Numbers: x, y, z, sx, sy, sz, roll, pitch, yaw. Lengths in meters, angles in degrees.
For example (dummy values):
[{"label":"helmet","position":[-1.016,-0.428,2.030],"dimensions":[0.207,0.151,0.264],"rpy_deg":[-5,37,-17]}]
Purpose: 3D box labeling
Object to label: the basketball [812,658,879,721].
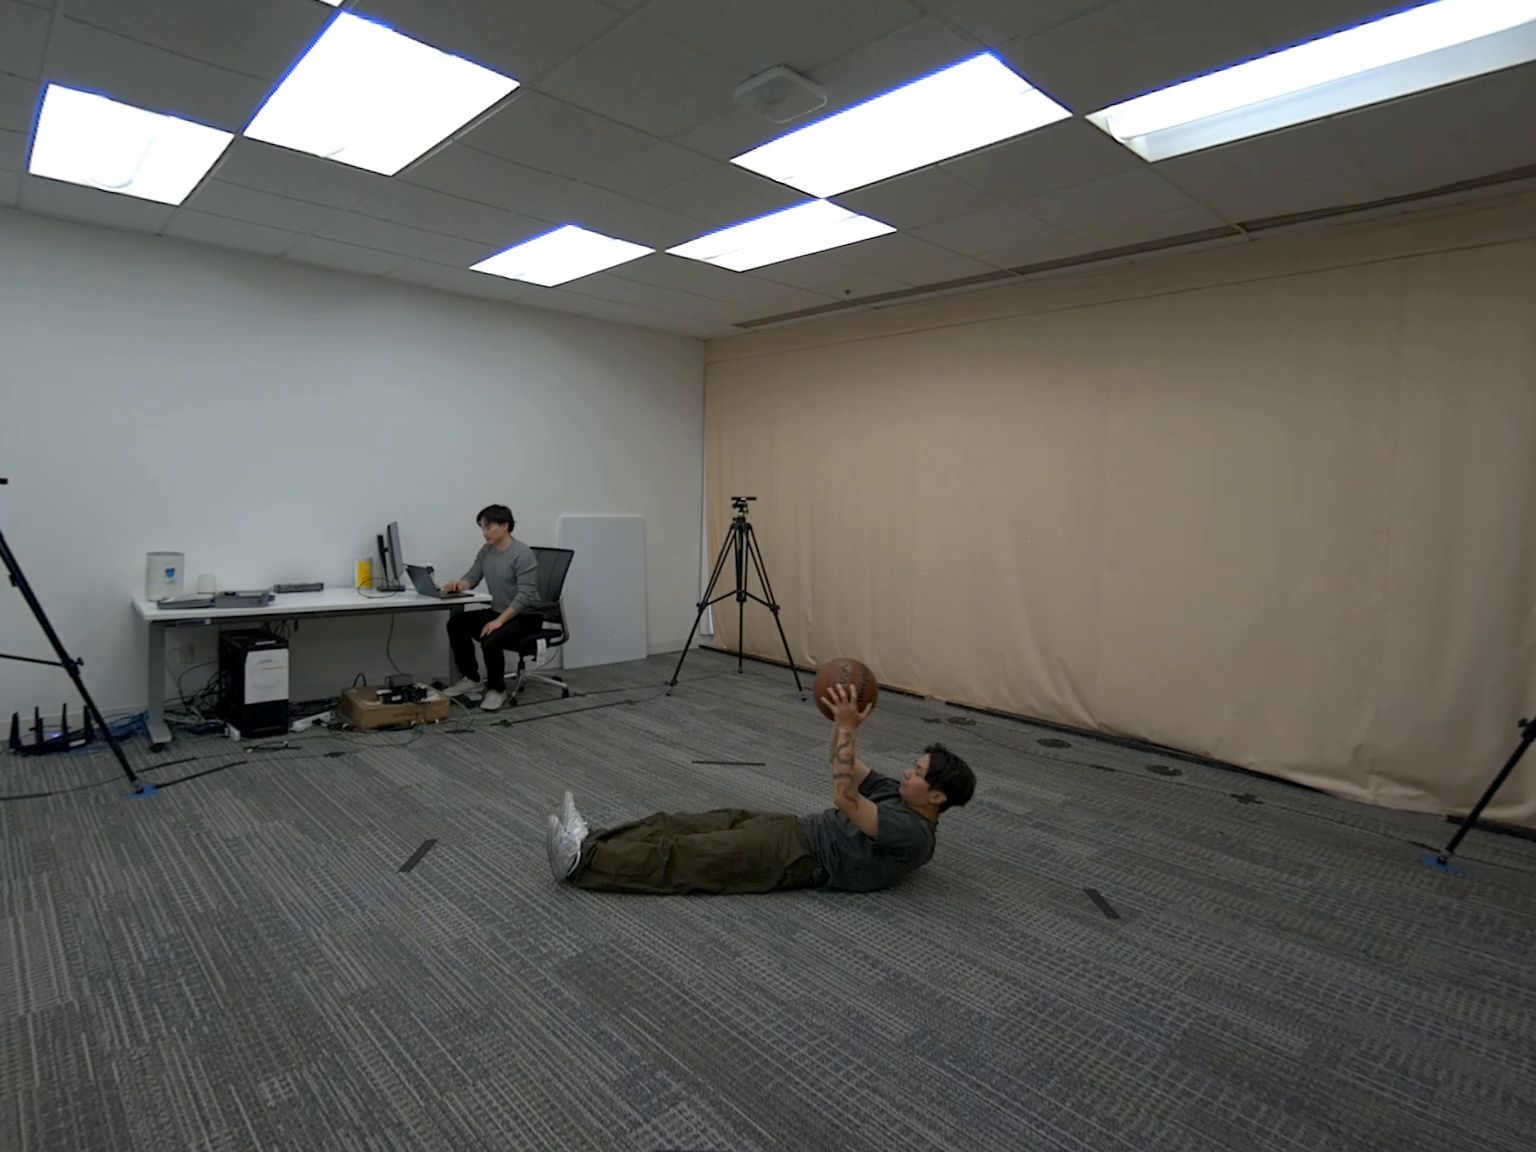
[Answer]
[{"label":"basketball","position":[0.278,0.432,3.082],"dimensions":[0.236,0.235,0.237],"rpy_deg":[1,4,-1]}]
